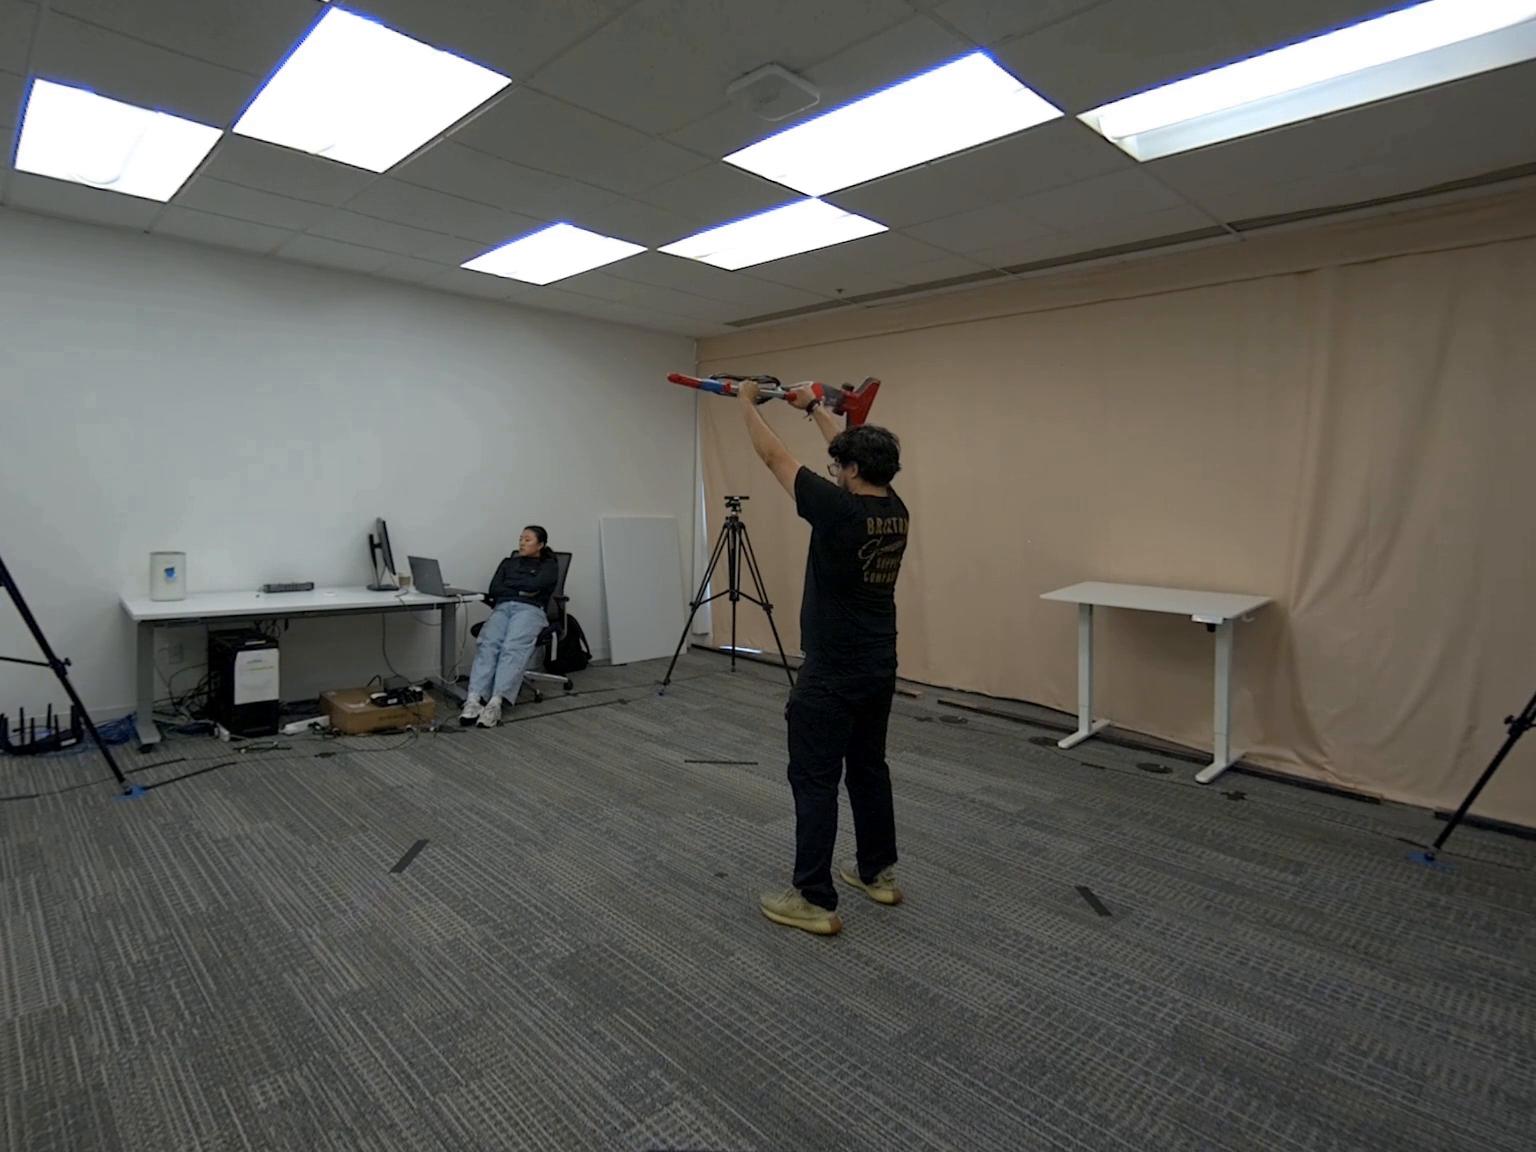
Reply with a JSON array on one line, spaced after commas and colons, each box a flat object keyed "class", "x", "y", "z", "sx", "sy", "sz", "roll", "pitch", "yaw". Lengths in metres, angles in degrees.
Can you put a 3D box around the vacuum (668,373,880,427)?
[{"class": "vacuum", "x": 0.023, "y": -0.691, "z": 3.137, "sx": 0.148, "sy": 0.250, "sz": 1.026, "roll": 37, "pitch": 26, "yaw": 33}]
